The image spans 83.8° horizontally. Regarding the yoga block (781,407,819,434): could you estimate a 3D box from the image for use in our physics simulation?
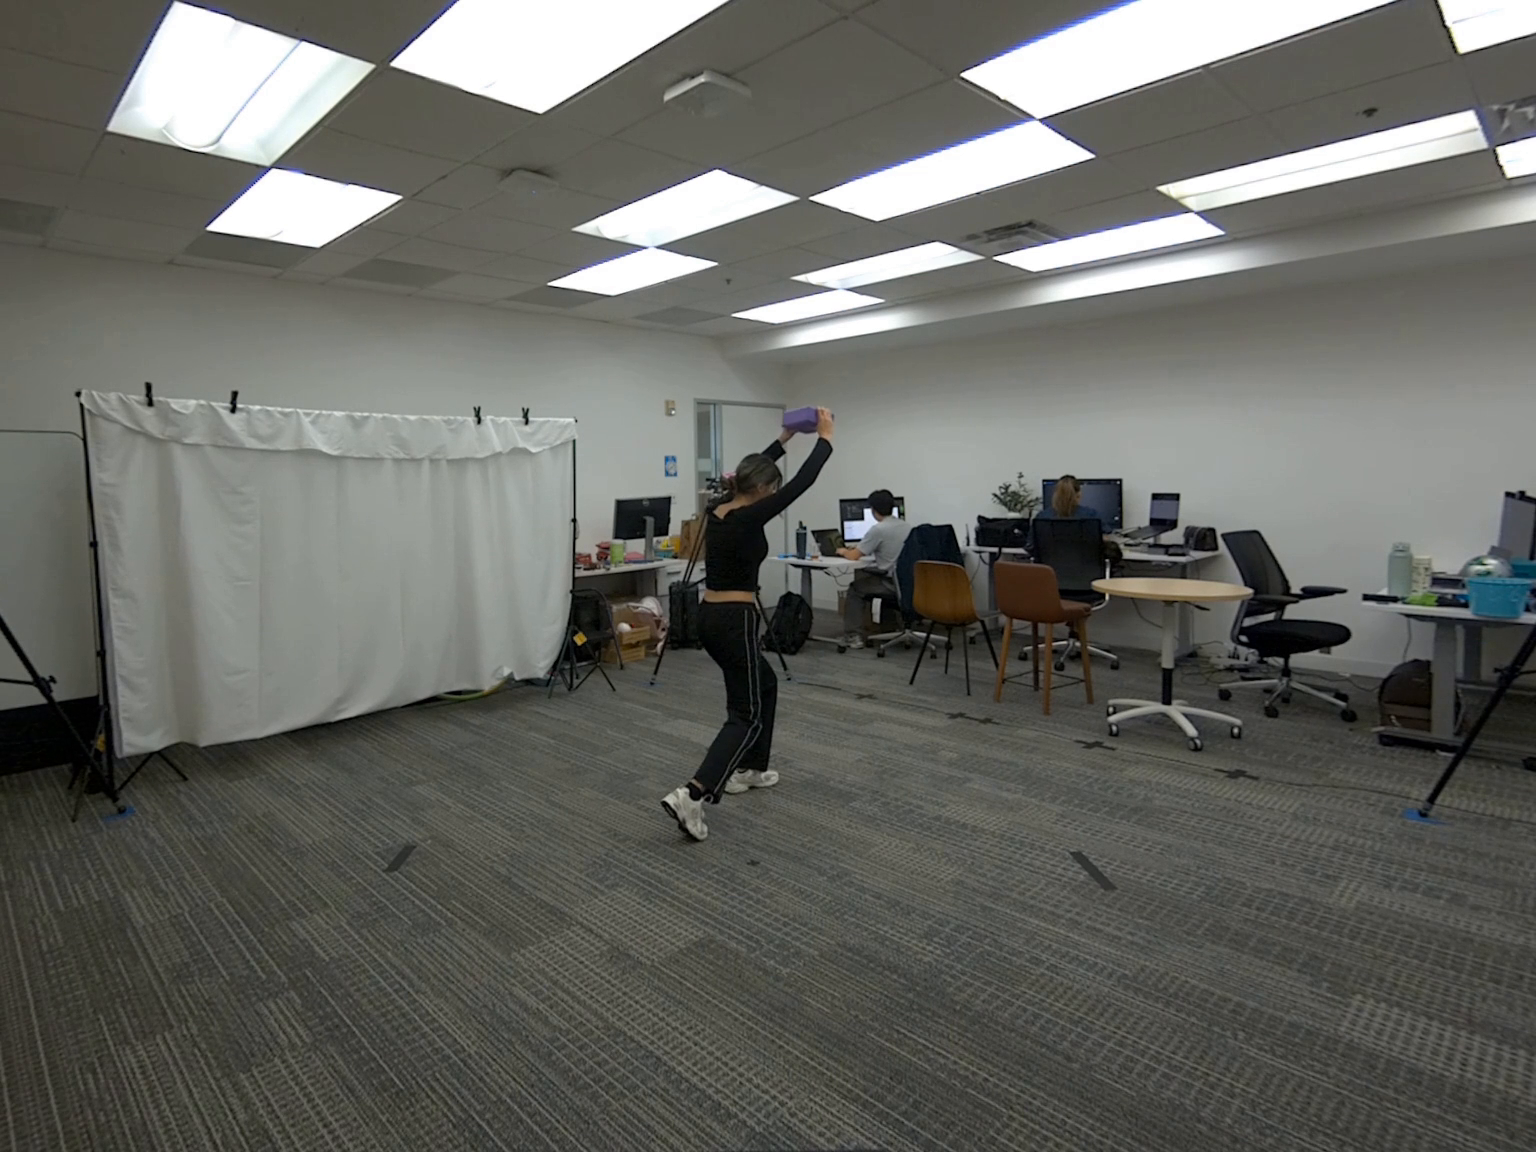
[{"bbox_3d":[0.181,-0.716,3.934,0.145,0.076,0.234,11,-2,-25],"label":"yoga block"}]
